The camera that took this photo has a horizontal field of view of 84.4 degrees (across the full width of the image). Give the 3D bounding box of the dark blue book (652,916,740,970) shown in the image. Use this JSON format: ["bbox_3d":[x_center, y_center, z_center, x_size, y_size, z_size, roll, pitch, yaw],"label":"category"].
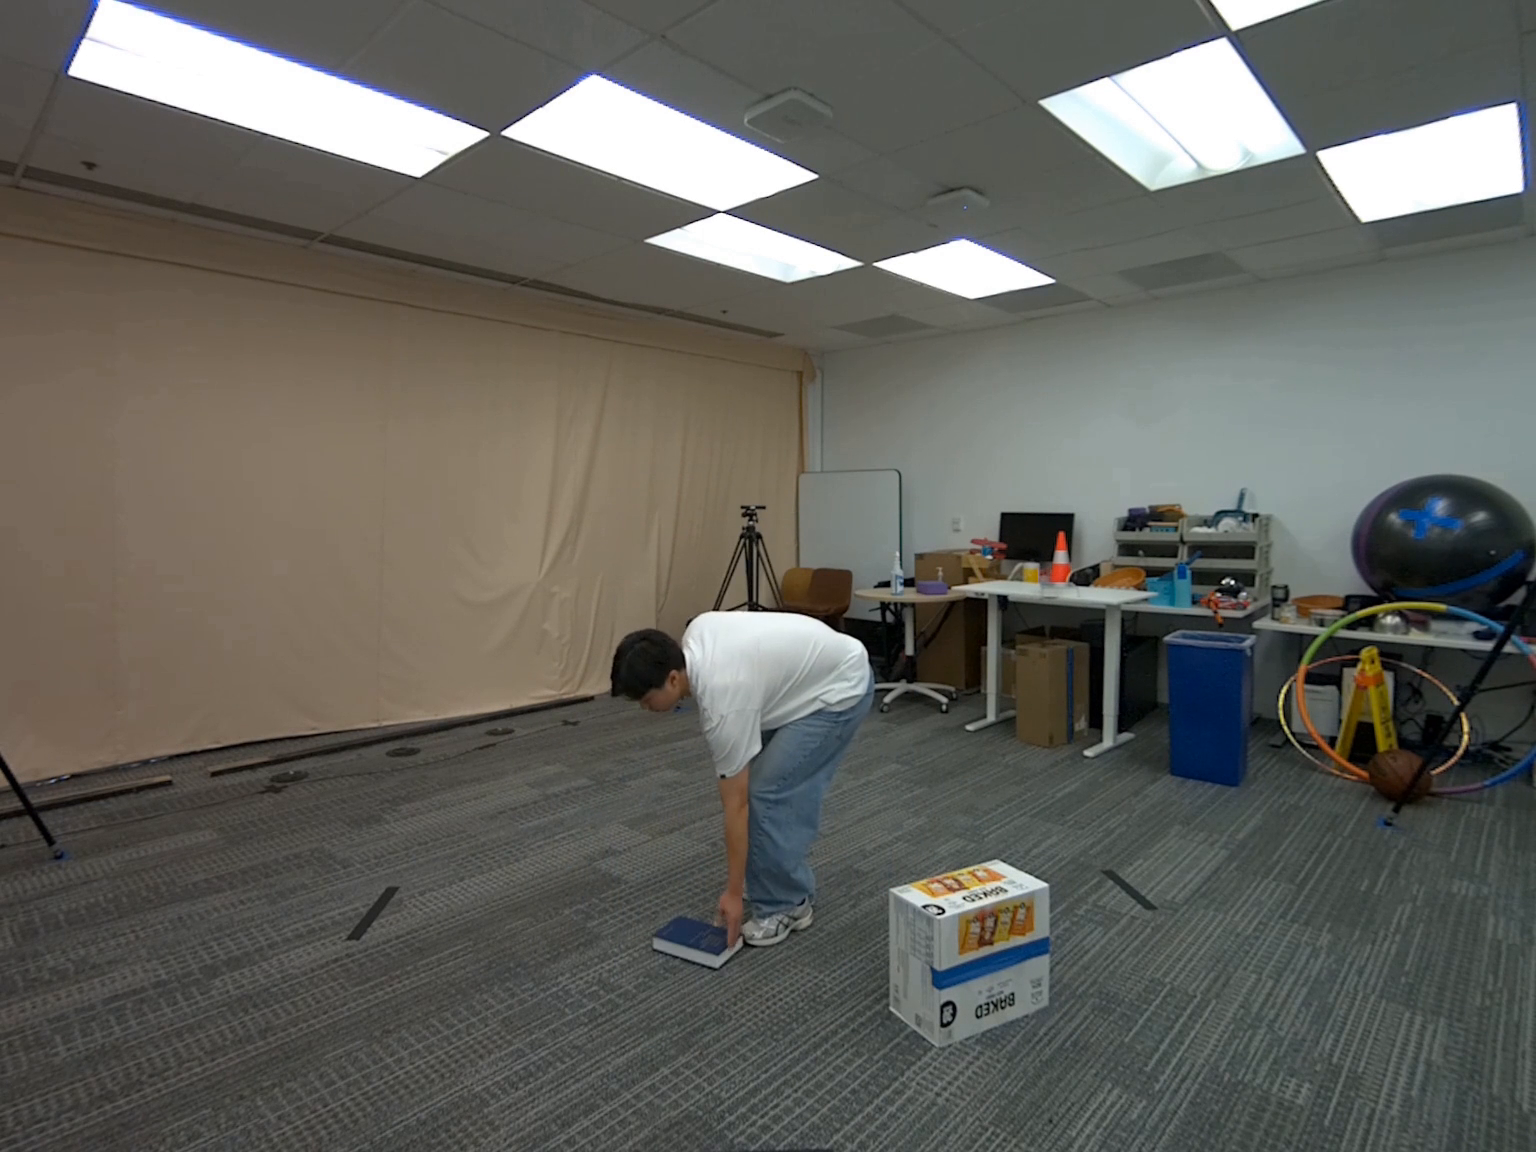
[{"bbox_3d":[-0.220,1.143,2.640,0.252,0.045,0.159,0,4,29],"label":"dark blue book"}]
